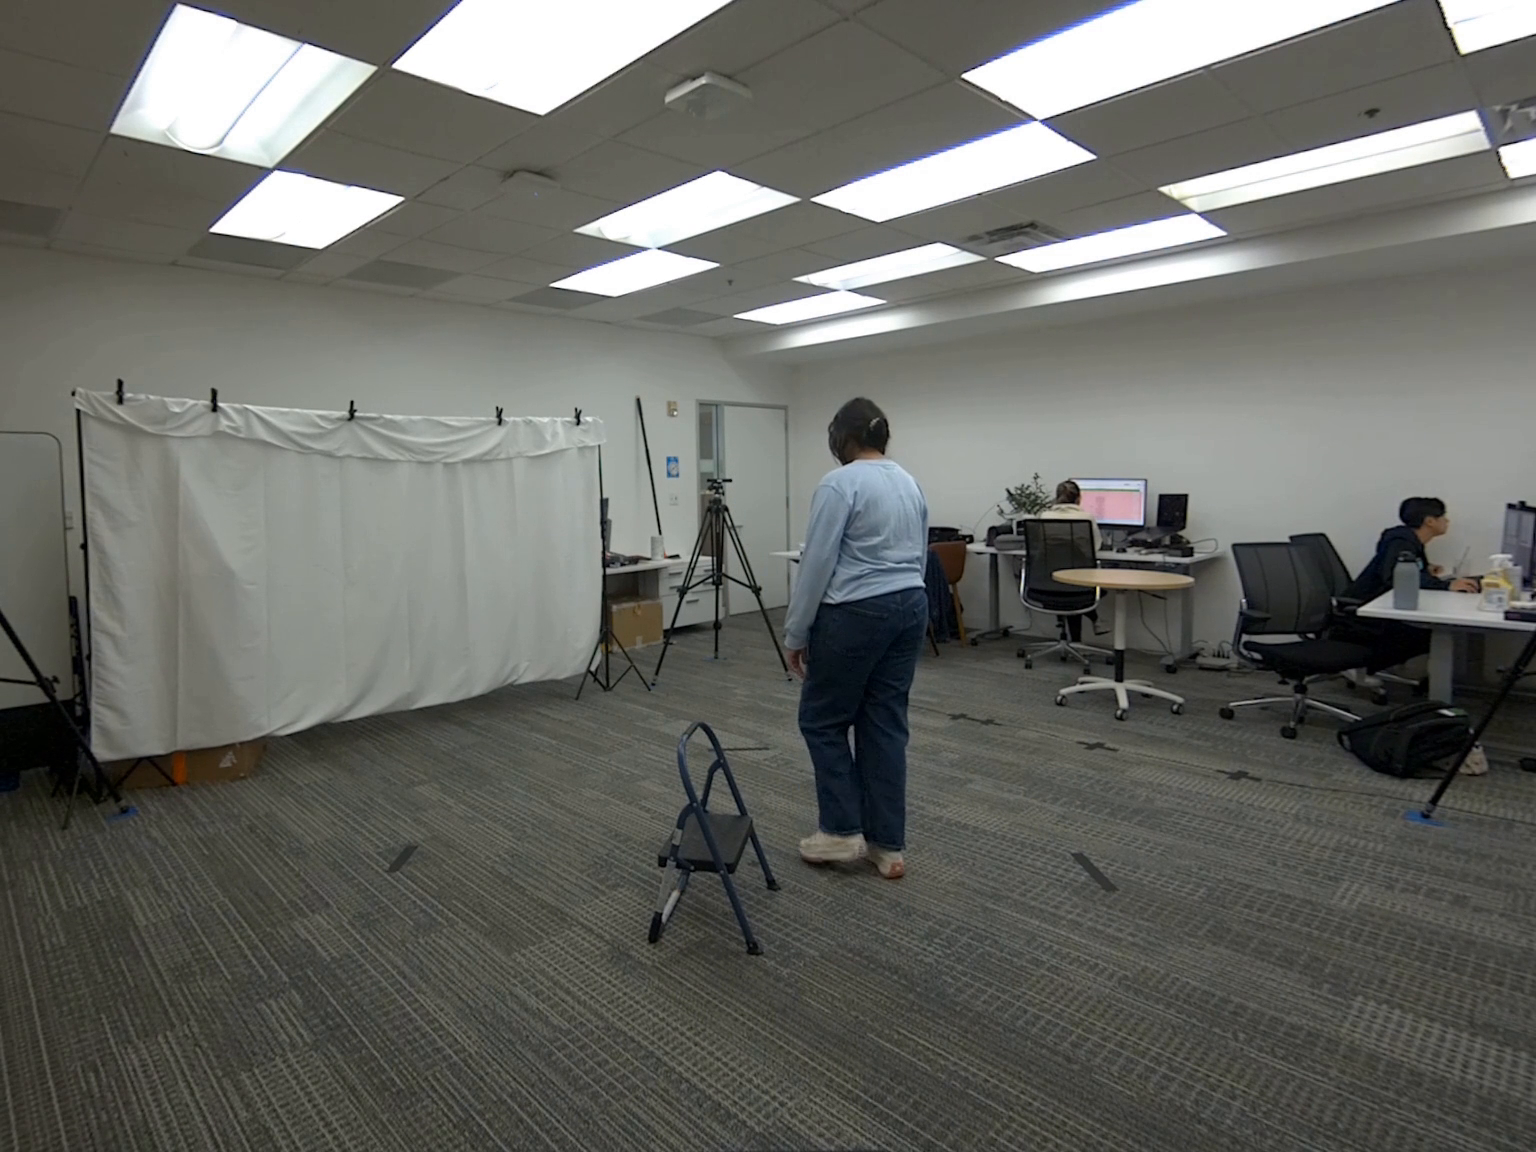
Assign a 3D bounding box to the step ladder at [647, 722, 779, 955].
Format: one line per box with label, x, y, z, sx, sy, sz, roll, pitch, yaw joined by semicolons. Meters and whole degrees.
step ladder;-0.168;0.789;2.728;0.353;0.604;0.428;0;5;10
